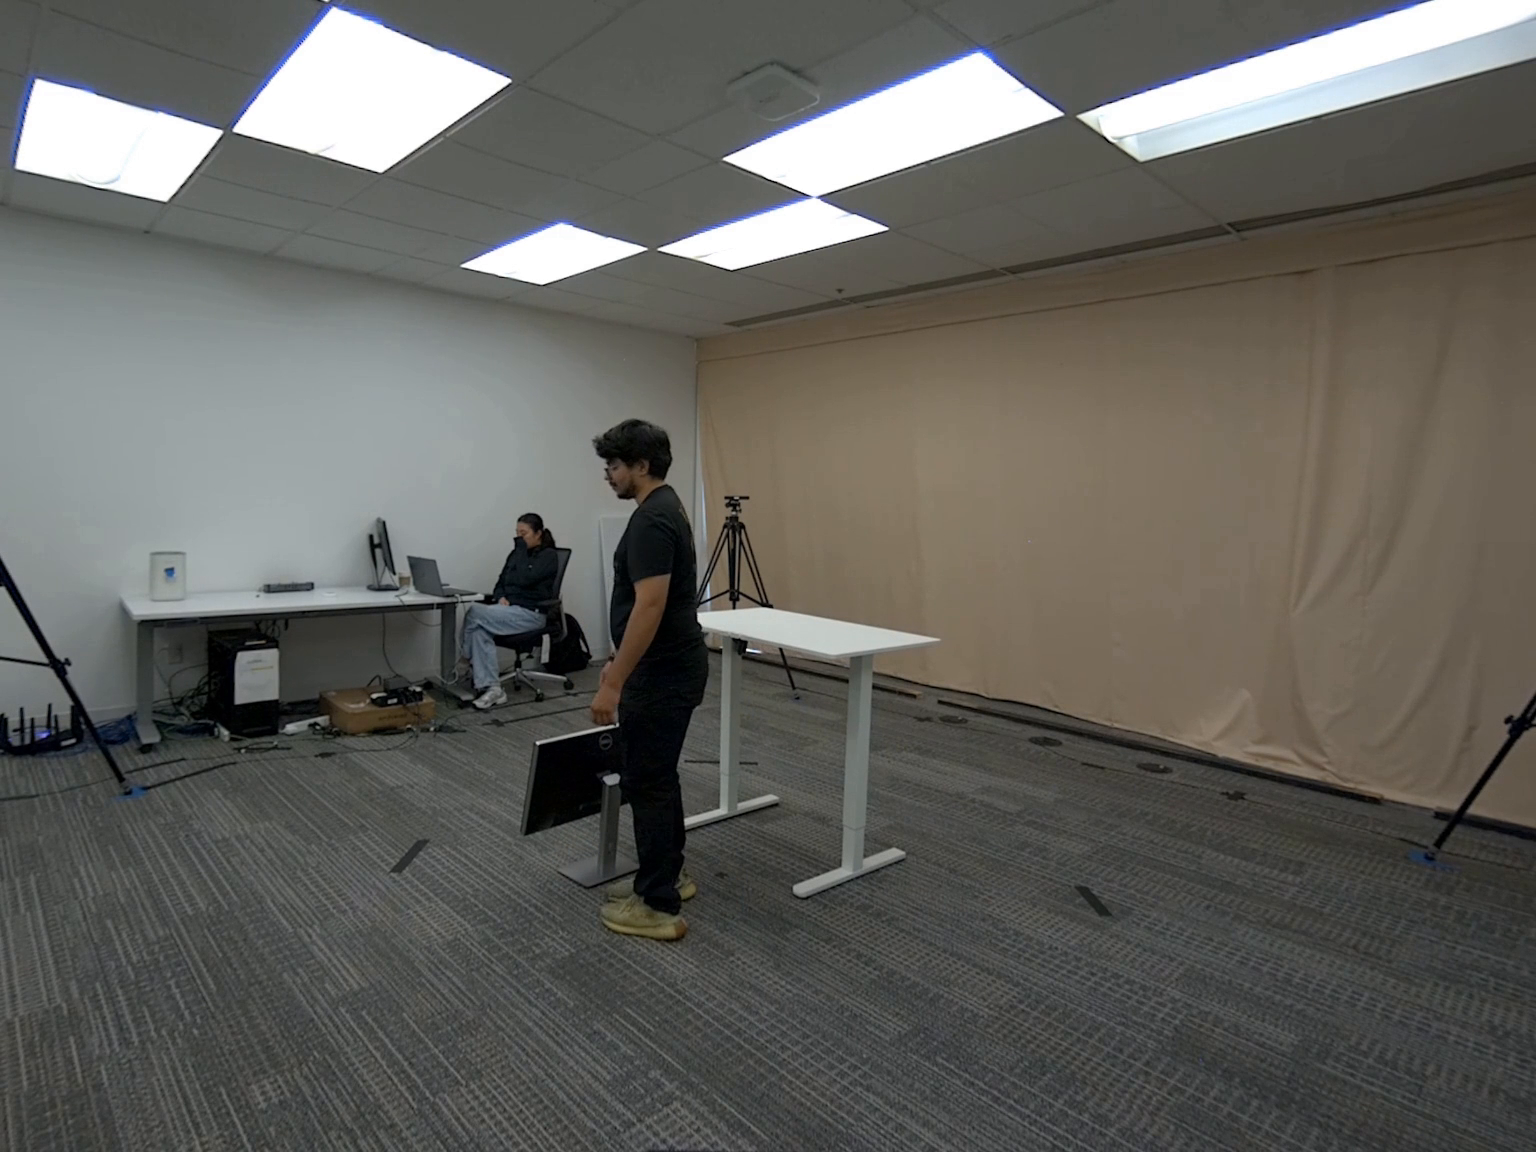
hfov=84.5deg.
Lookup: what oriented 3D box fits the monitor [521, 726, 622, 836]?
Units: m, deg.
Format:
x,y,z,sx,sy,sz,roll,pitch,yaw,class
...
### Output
x,y,z,sx,sy,sz,roll,pitch,yaw,class
-0.601,0.827,3.083,0.216,0.551,0.552,13,11,43,monitor
